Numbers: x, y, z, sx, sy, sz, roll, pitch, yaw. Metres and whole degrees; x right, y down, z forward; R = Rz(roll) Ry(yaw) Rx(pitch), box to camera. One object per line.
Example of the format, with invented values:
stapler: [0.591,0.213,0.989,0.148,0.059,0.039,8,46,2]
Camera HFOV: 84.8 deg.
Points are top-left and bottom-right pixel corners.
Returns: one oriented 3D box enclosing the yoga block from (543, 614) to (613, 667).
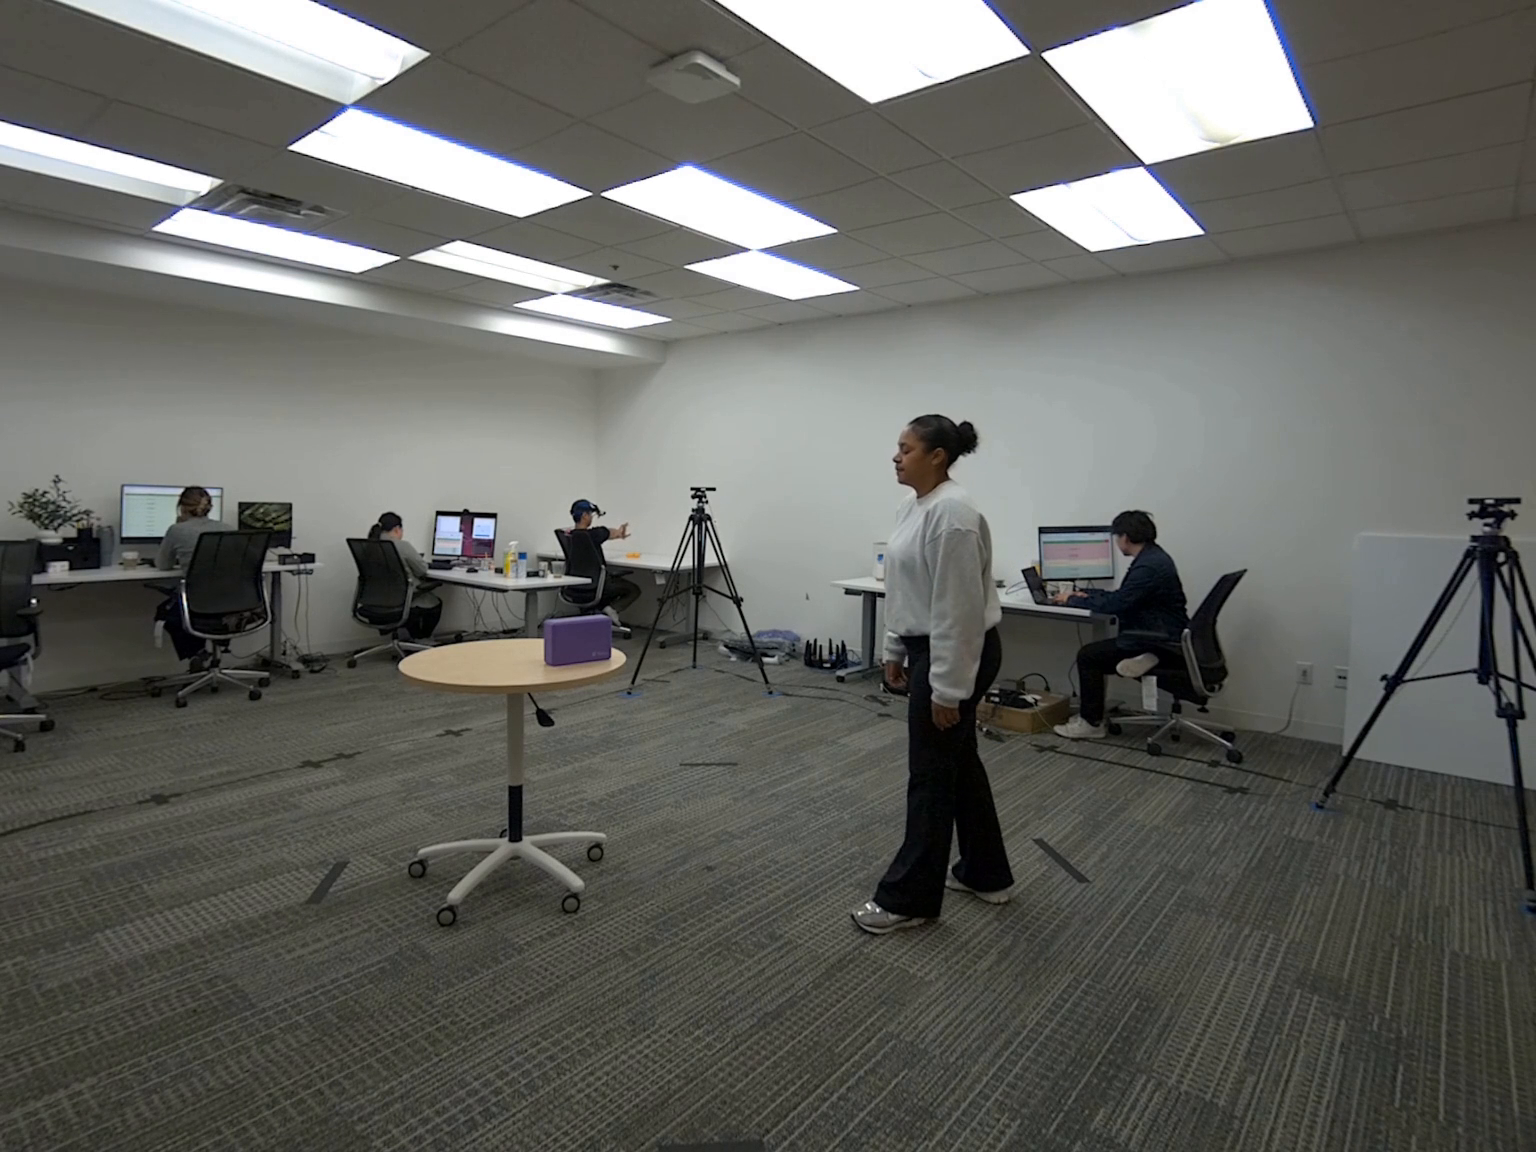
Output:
yoga block: [-0.667,0.218,2.935,0.223,0.148,0.079,-3,6,-37]
